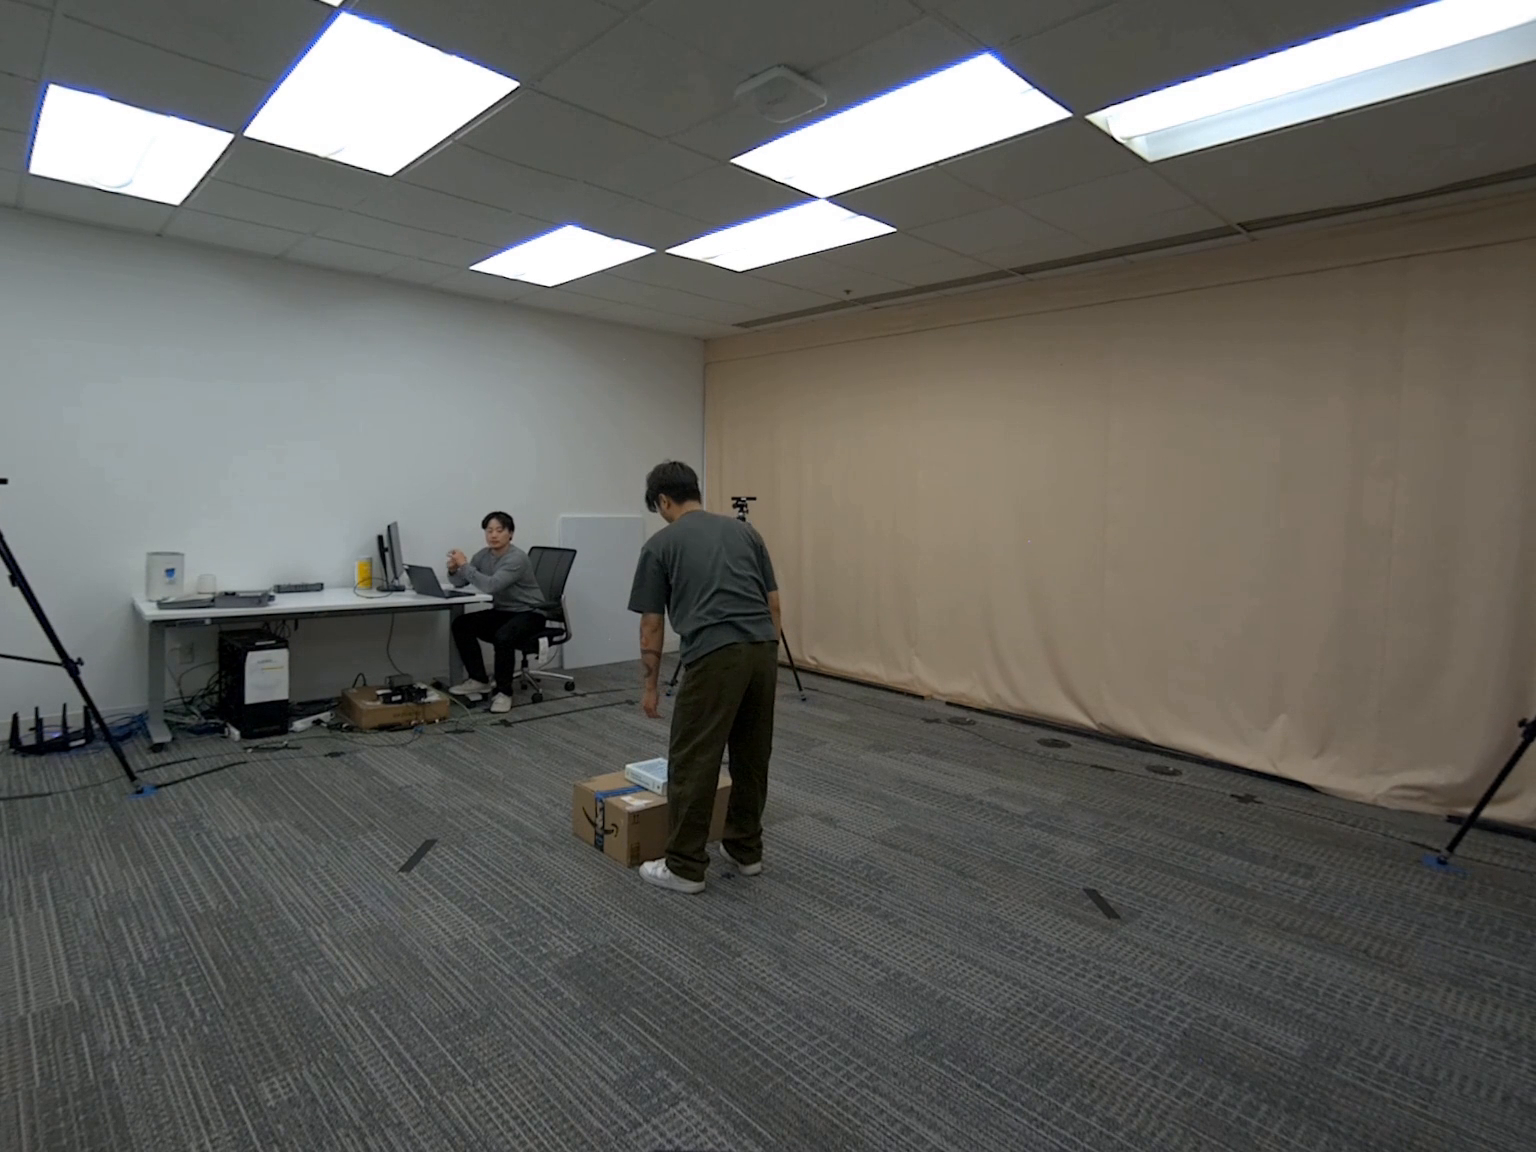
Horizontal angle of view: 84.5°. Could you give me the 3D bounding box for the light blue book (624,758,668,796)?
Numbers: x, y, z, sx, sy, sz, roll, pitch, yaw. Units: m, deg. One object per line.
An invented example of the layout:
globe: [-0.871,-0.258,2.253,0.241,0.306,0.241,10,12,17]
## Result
light blue book: [-0.450,0.828,3.488,0.187,0.059,0.268,-2,6,-43]
